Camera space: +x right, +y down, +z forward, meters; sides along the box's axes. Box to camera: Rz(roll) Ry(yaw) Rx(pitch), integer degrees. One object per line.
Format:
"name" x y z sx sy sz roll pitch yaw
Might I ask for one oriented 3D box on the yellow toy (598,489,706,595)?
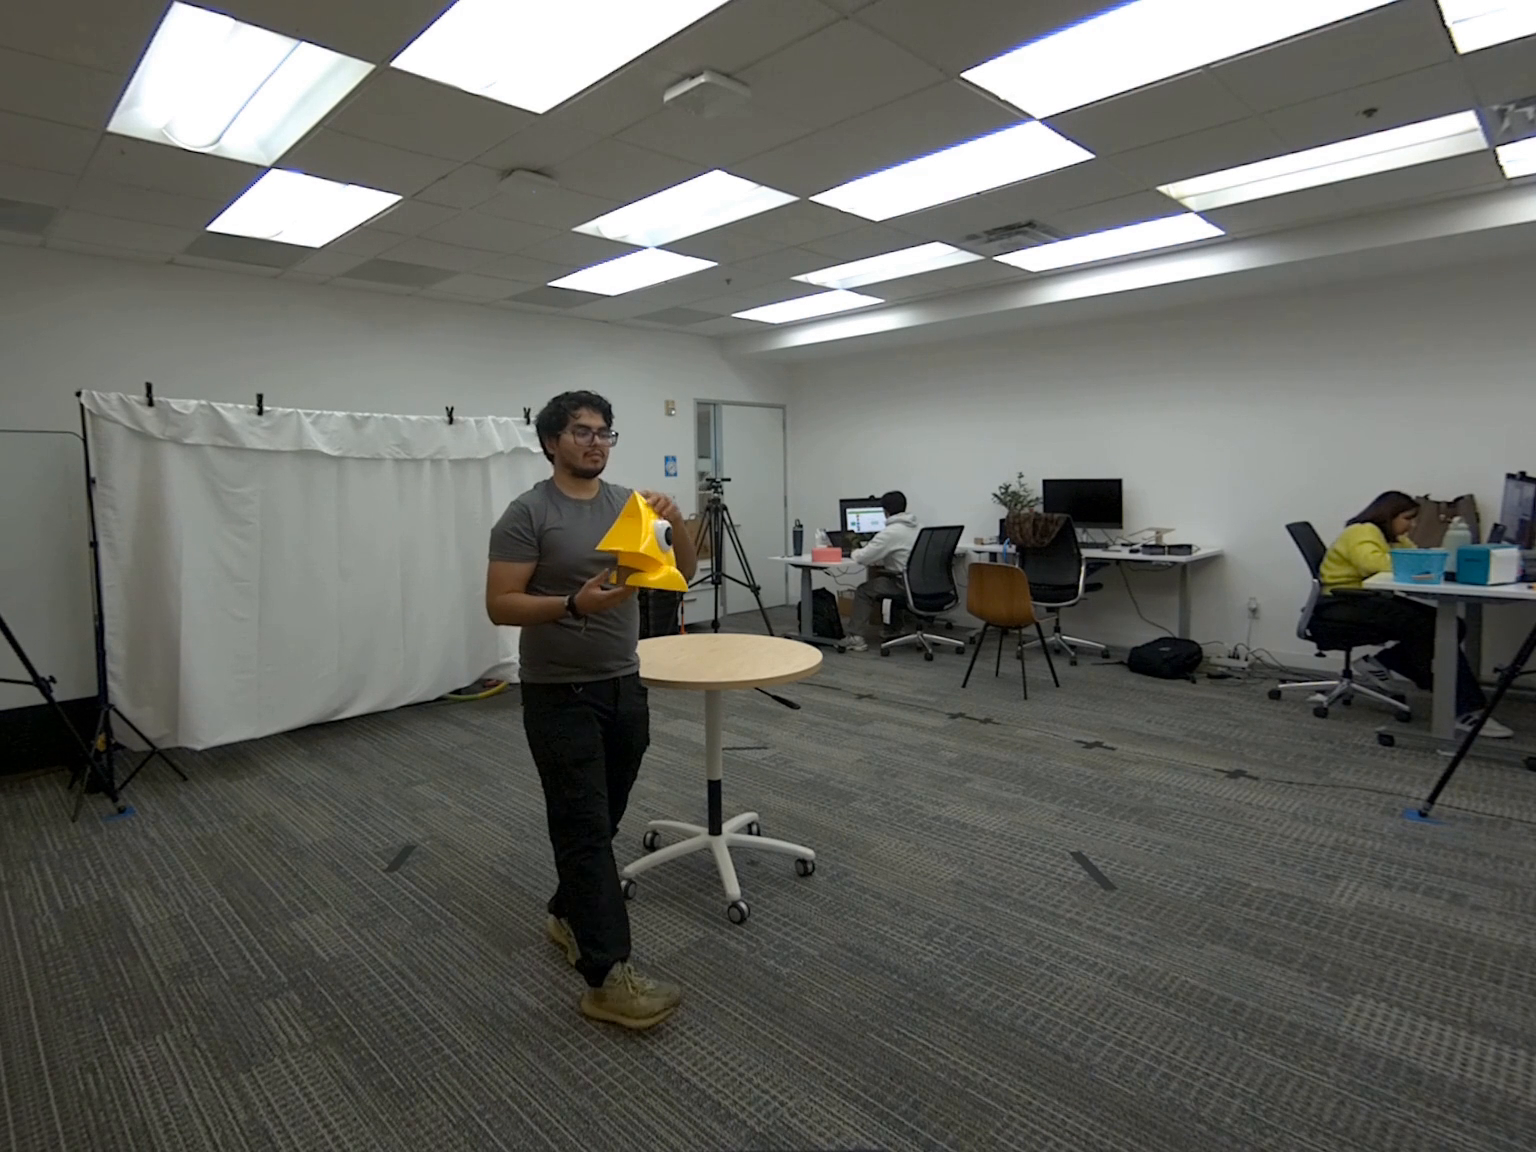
"yellow toy" -0.305 -0.083 2.121 0.187 0.231 0.211 8 -4 -40
